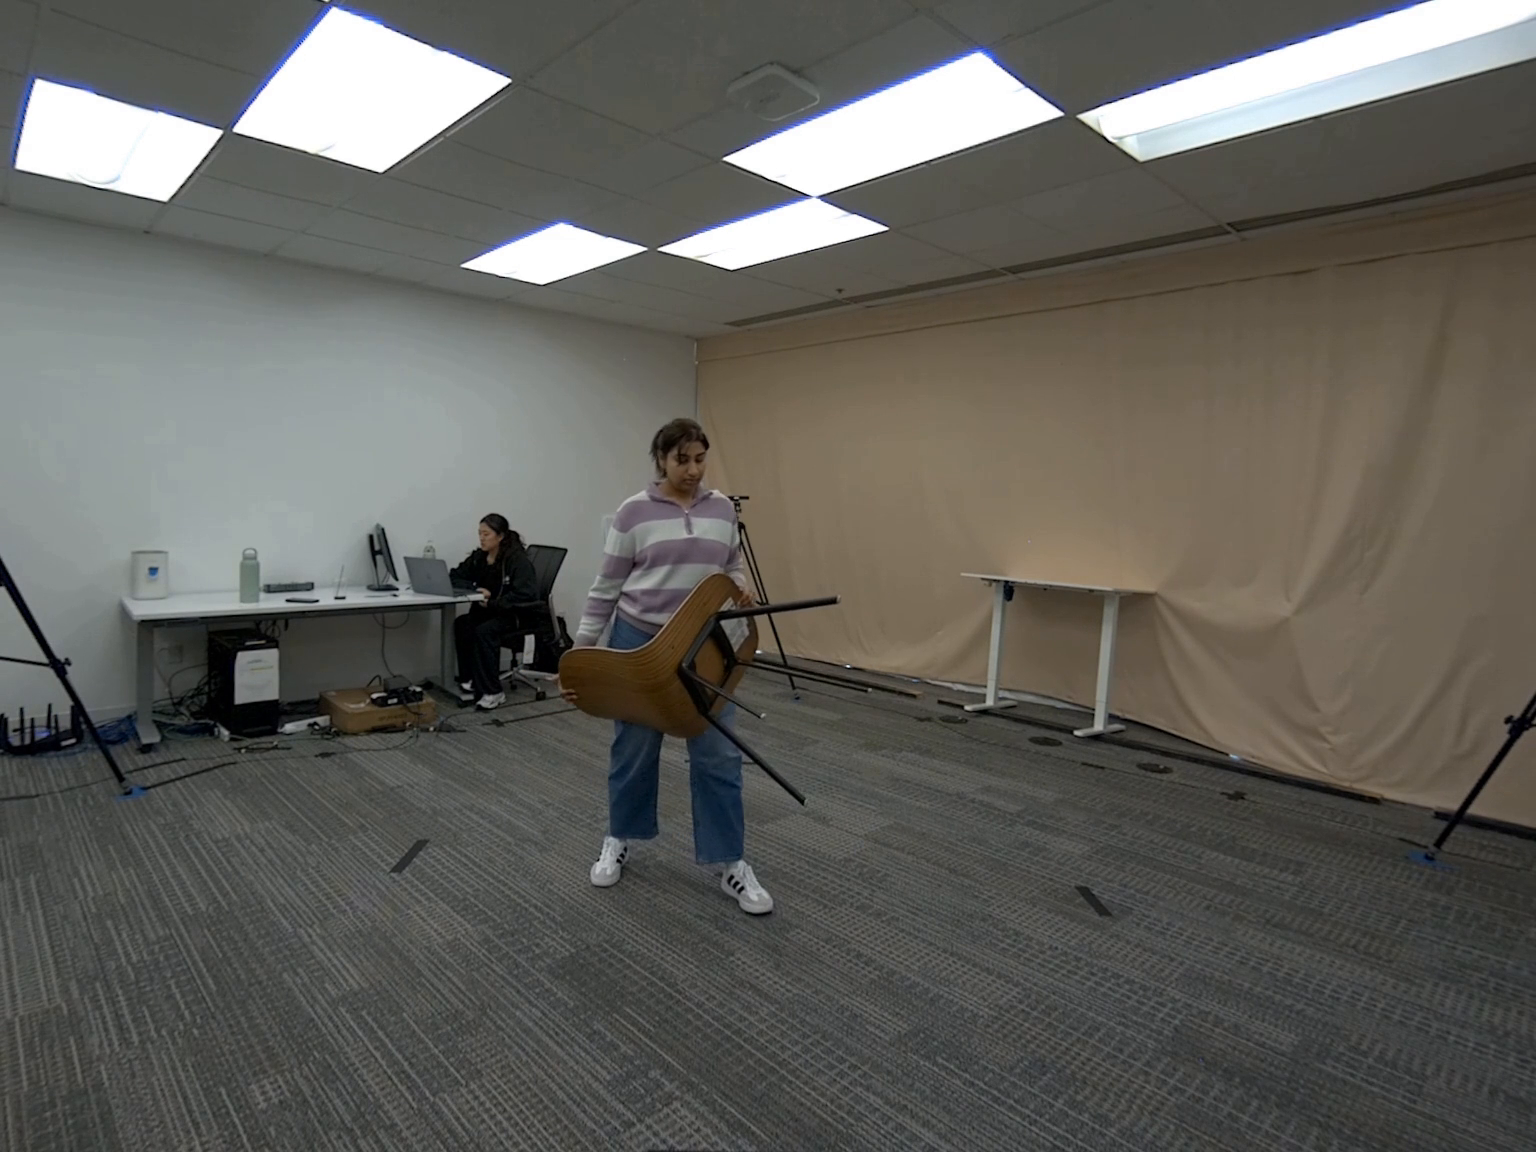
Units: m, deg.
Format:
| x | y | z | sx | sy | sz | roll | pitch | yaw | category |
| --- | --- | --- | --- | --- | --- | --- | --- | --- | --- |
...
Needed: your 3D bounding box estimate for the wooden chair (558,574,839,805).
| x | y | z | sx | sy | sz | roll | pitch | yaw | category |
| --- | --- | --- | --- | --- | --- | --- | --- | --- | --- |
| -0.196 | 0.292 | 2.731 | 0.899 | 0.464 | 0.525 | 9 | 49 | 32 | wooden chair |
